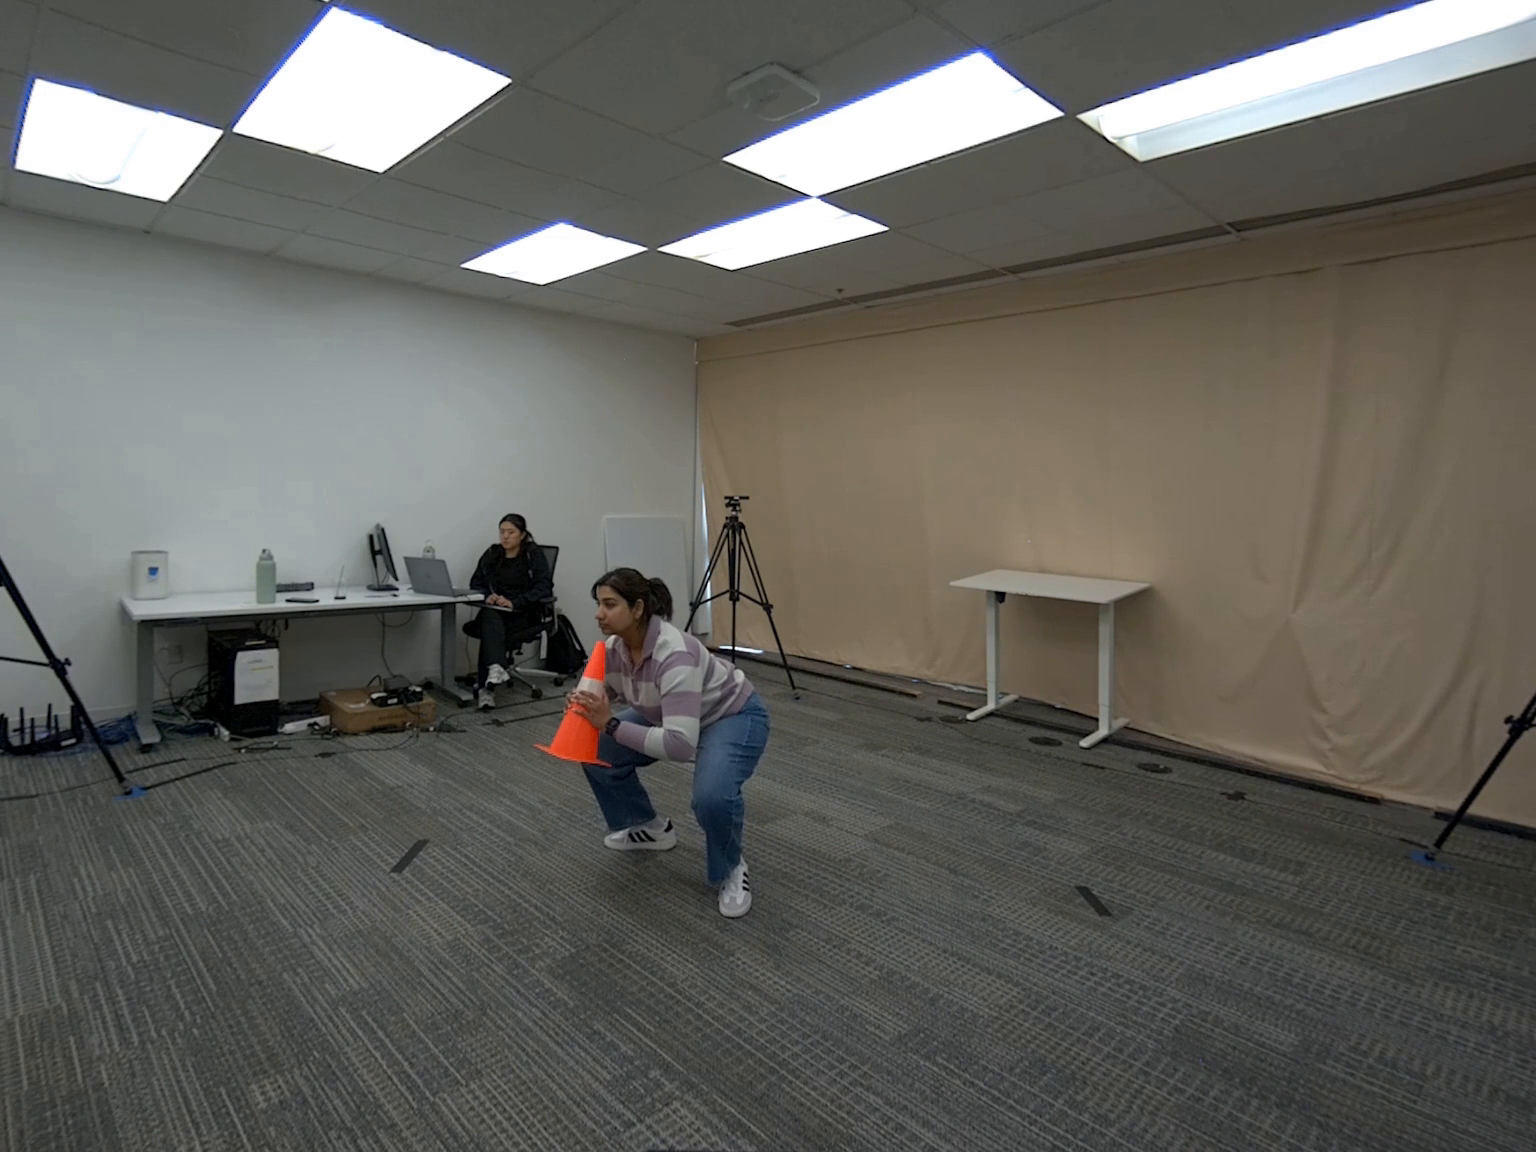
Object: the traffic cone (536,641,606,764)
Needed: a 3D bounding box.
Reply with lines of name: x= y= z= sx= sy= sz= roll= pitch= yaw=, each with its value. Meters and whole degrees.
traffic cone: x=-0.599 y=0.415 z=2.791 sx=0.198 sy=0.385 sz=0.210 roll=20 pitch=-11 yaw=-36
